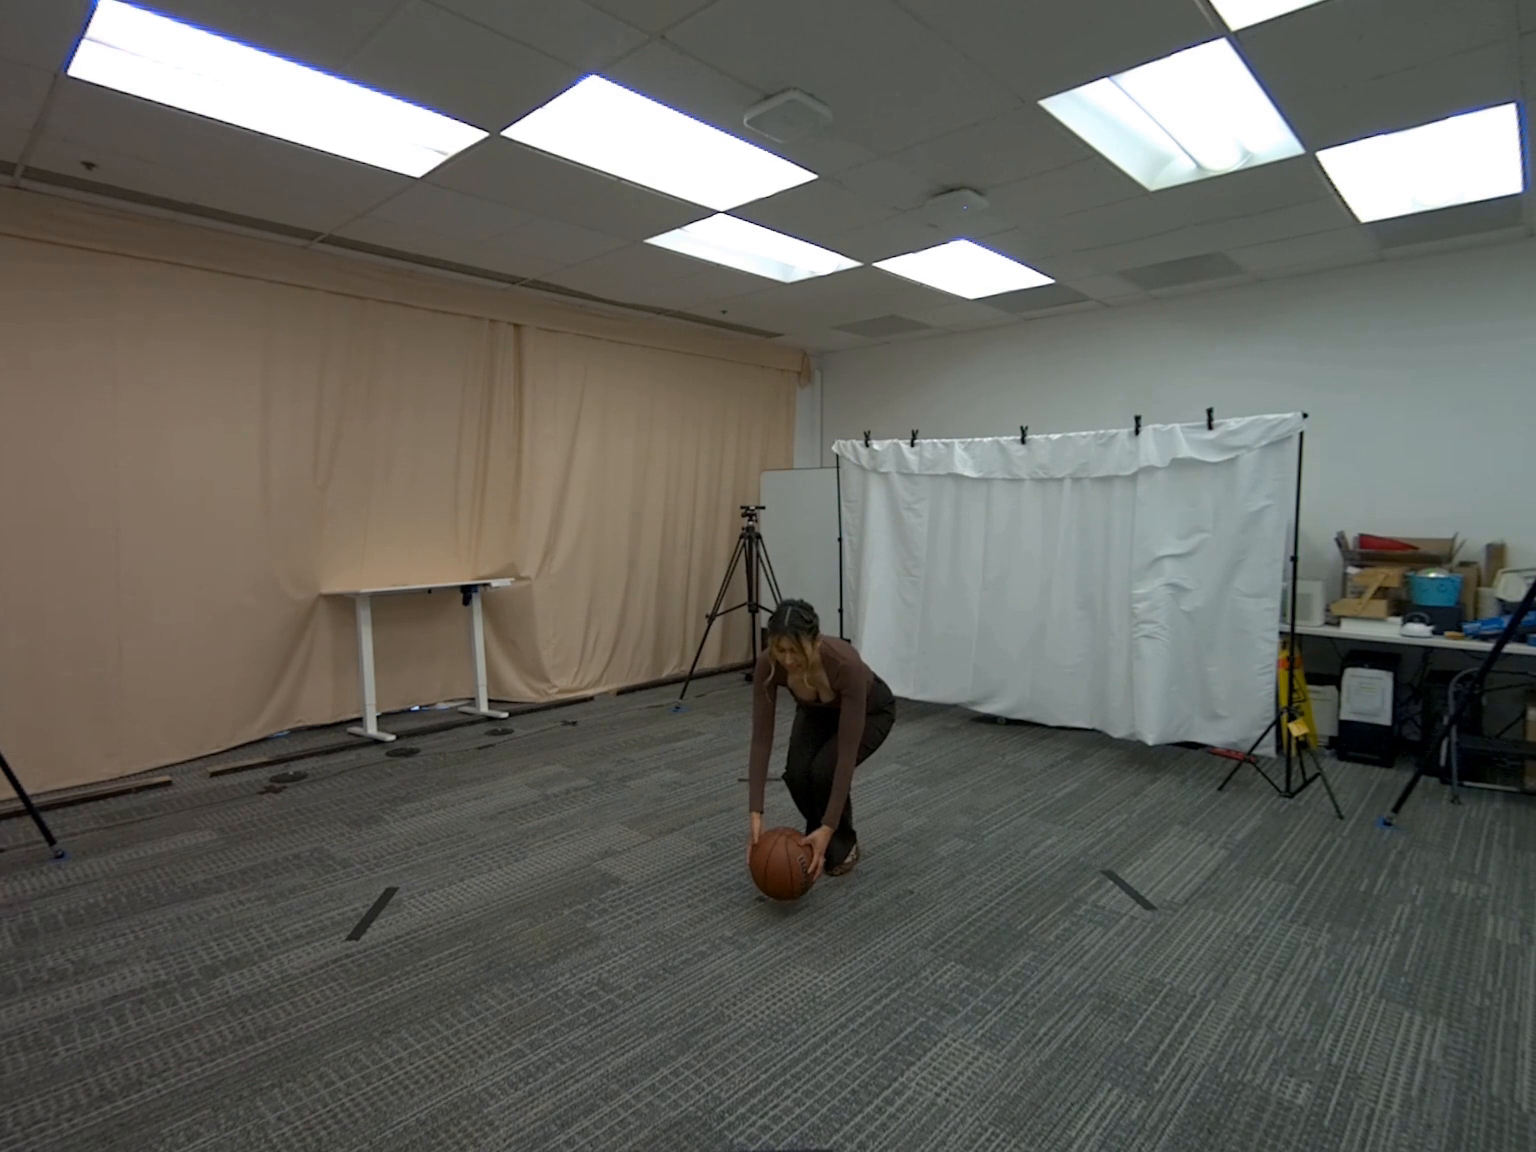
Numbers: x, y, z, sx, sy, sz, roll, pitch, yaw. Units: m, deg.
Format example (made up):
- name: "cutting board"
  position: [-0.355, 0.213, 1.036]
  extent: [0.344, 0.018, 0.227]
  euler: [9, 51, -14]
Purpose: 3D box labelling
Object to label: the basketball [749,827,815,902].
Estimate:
- name: "basketball"
  position: [0.055, 0.974, 2.893]
  extent: [0.236, 0.235, 0.237]
  euler: [0, 4, -2]
